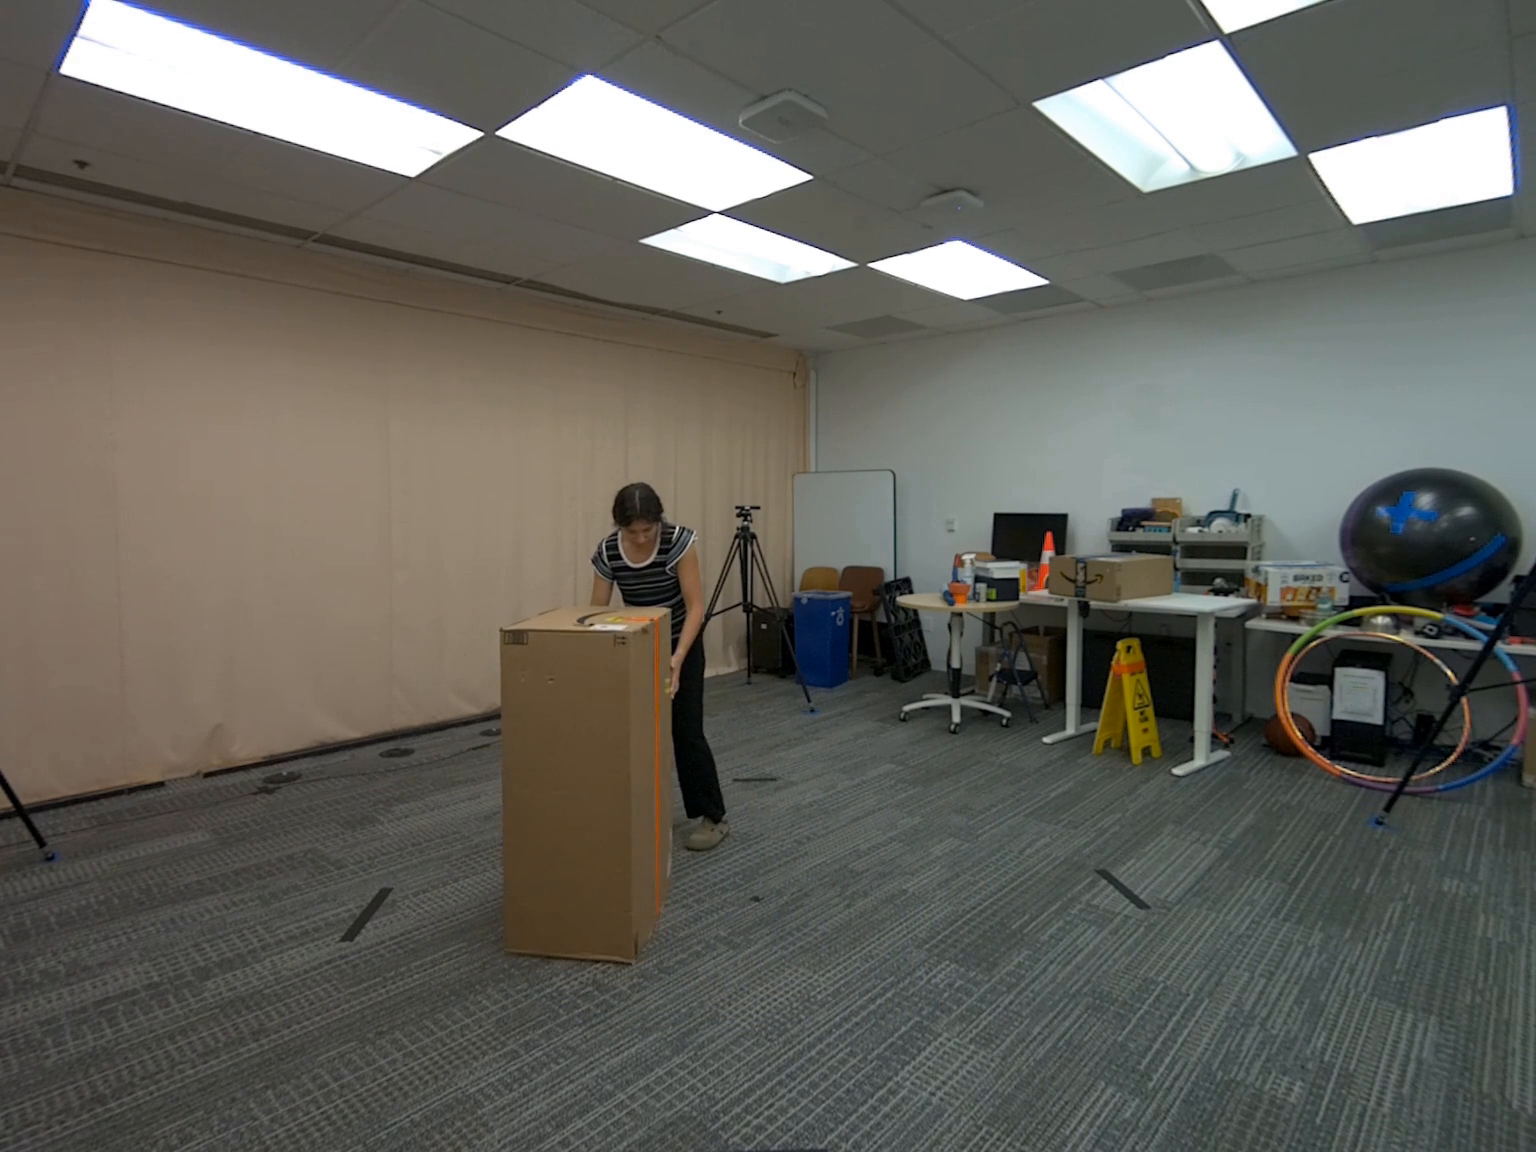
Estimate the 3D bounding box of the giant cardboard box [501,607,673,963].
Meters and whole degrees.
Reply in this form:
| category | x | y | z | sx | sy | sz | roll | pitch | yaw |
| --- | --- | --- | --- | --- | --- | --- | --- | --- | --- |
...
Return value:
| category | x | y | z | sx | sy | sz | roll | pitch | yaw |
| --- | --- | --- | --- | --- | --- | --- | --- | --- | --- |
| giant cardboard box | -0.585 | 0.647 | 2.850 | 0.430 | 1.024 | 0.574 | 0 | 3 | 6 |
